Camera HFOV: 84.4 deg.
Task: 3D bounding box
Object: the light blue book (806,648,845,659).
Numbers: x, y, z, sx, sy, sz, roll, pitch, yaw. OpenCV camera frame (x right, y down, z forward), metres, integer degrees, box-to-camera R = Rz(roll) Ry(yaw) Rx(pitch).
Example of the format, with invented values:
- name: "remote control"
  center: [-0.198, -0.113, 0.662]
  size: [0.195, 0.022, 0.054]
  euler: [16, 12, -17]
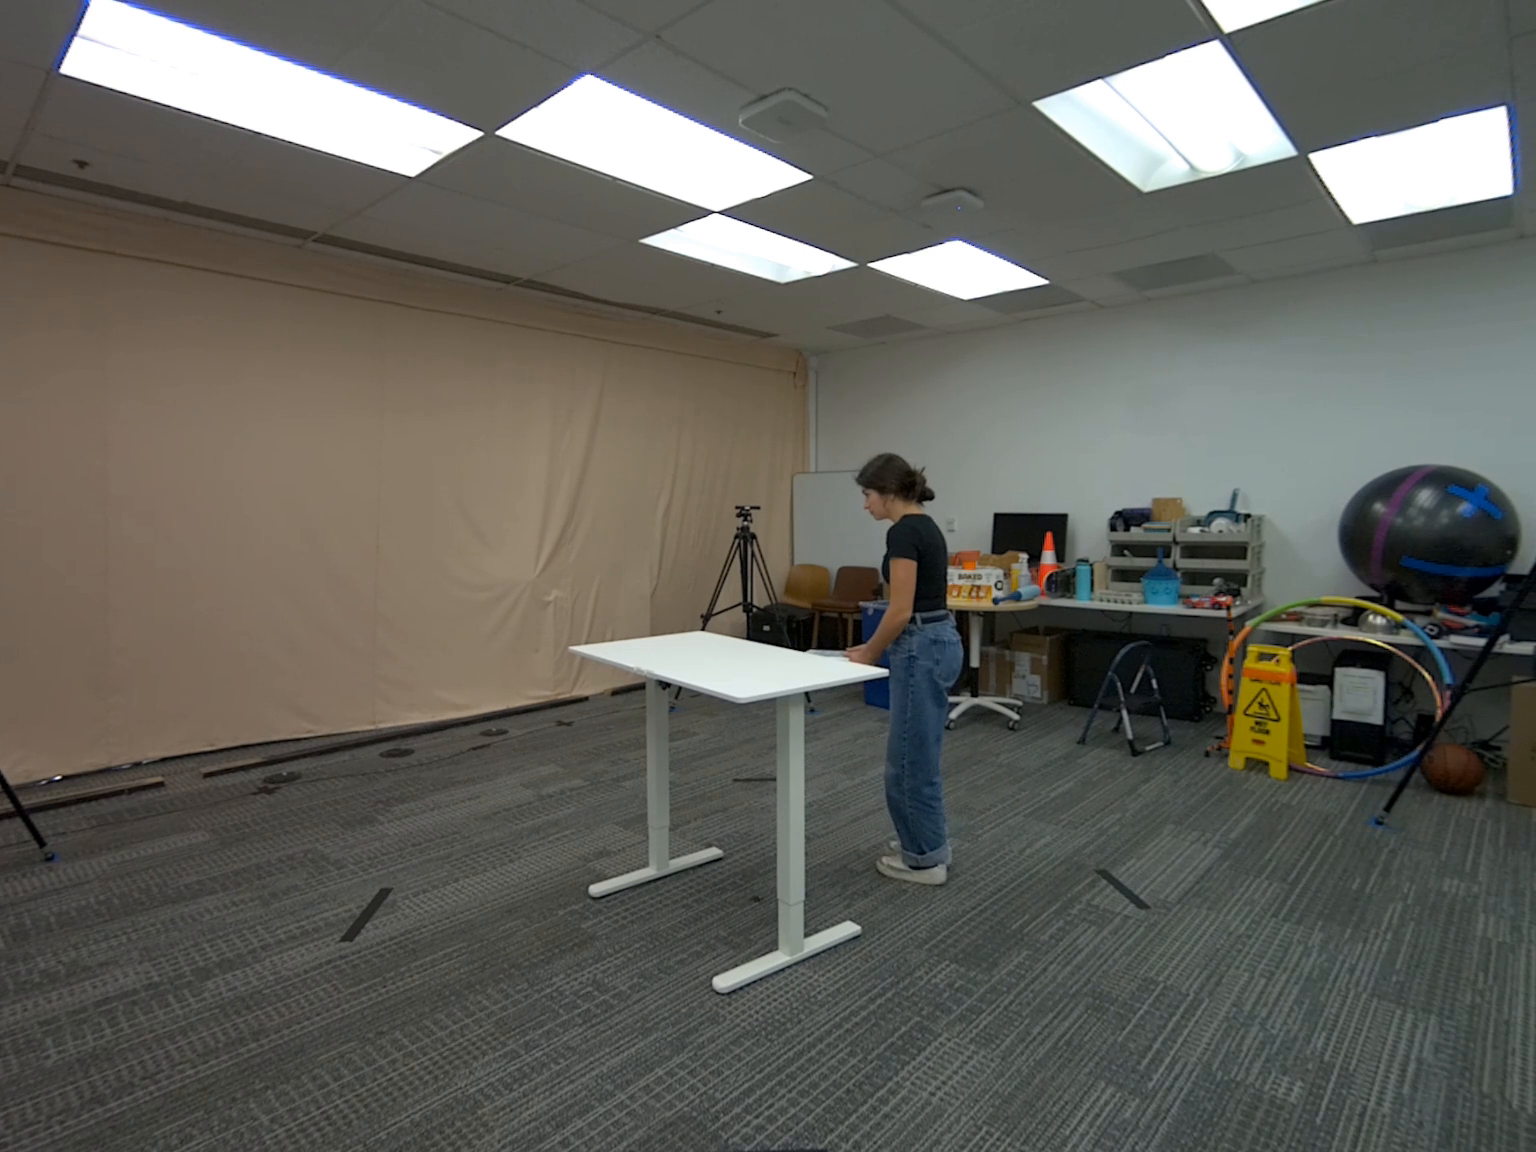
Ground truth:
- name: "light blue book"
  center: [0.266, 0.337, 3.230]
  size: [0.267, 0.059, 0.187]
  euler: [0, 2, 24]
